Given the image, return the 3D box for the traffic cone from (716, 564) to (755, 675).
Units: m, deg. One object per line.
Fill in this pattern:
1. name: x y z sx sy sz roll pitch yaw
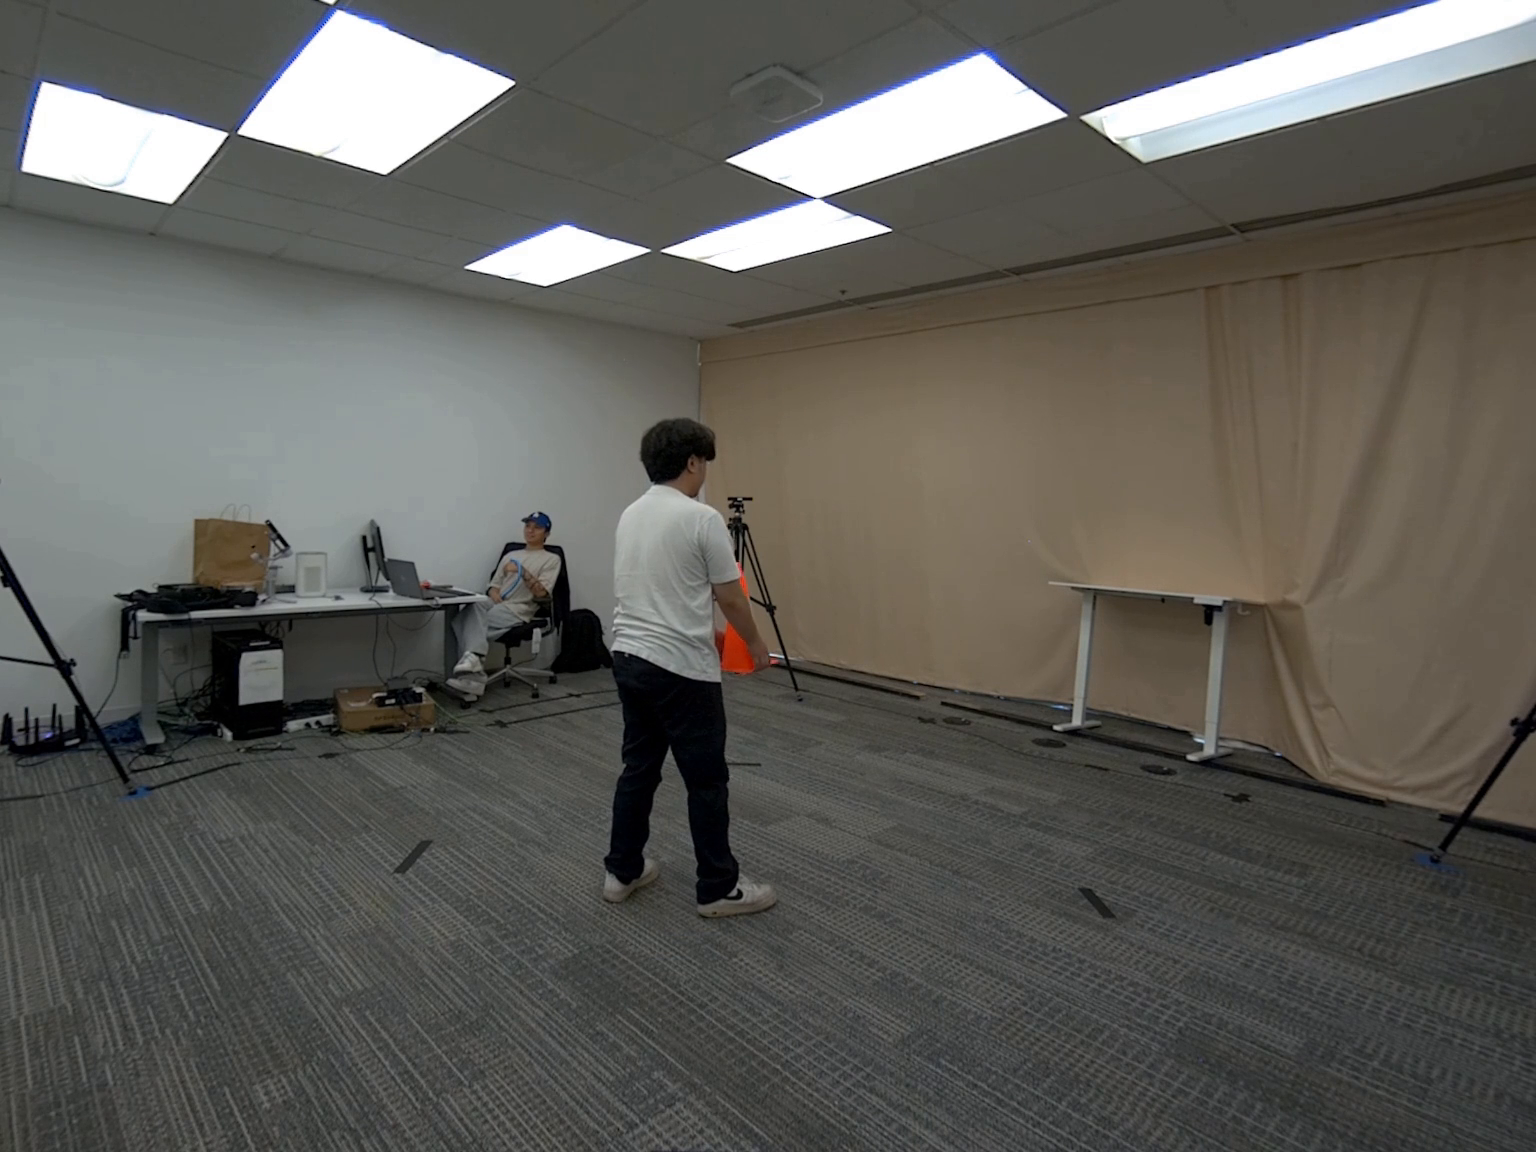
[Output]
1. traffic cone: -0.114 0.146 3.112 0.210 0.382 0.200 1 8 35
